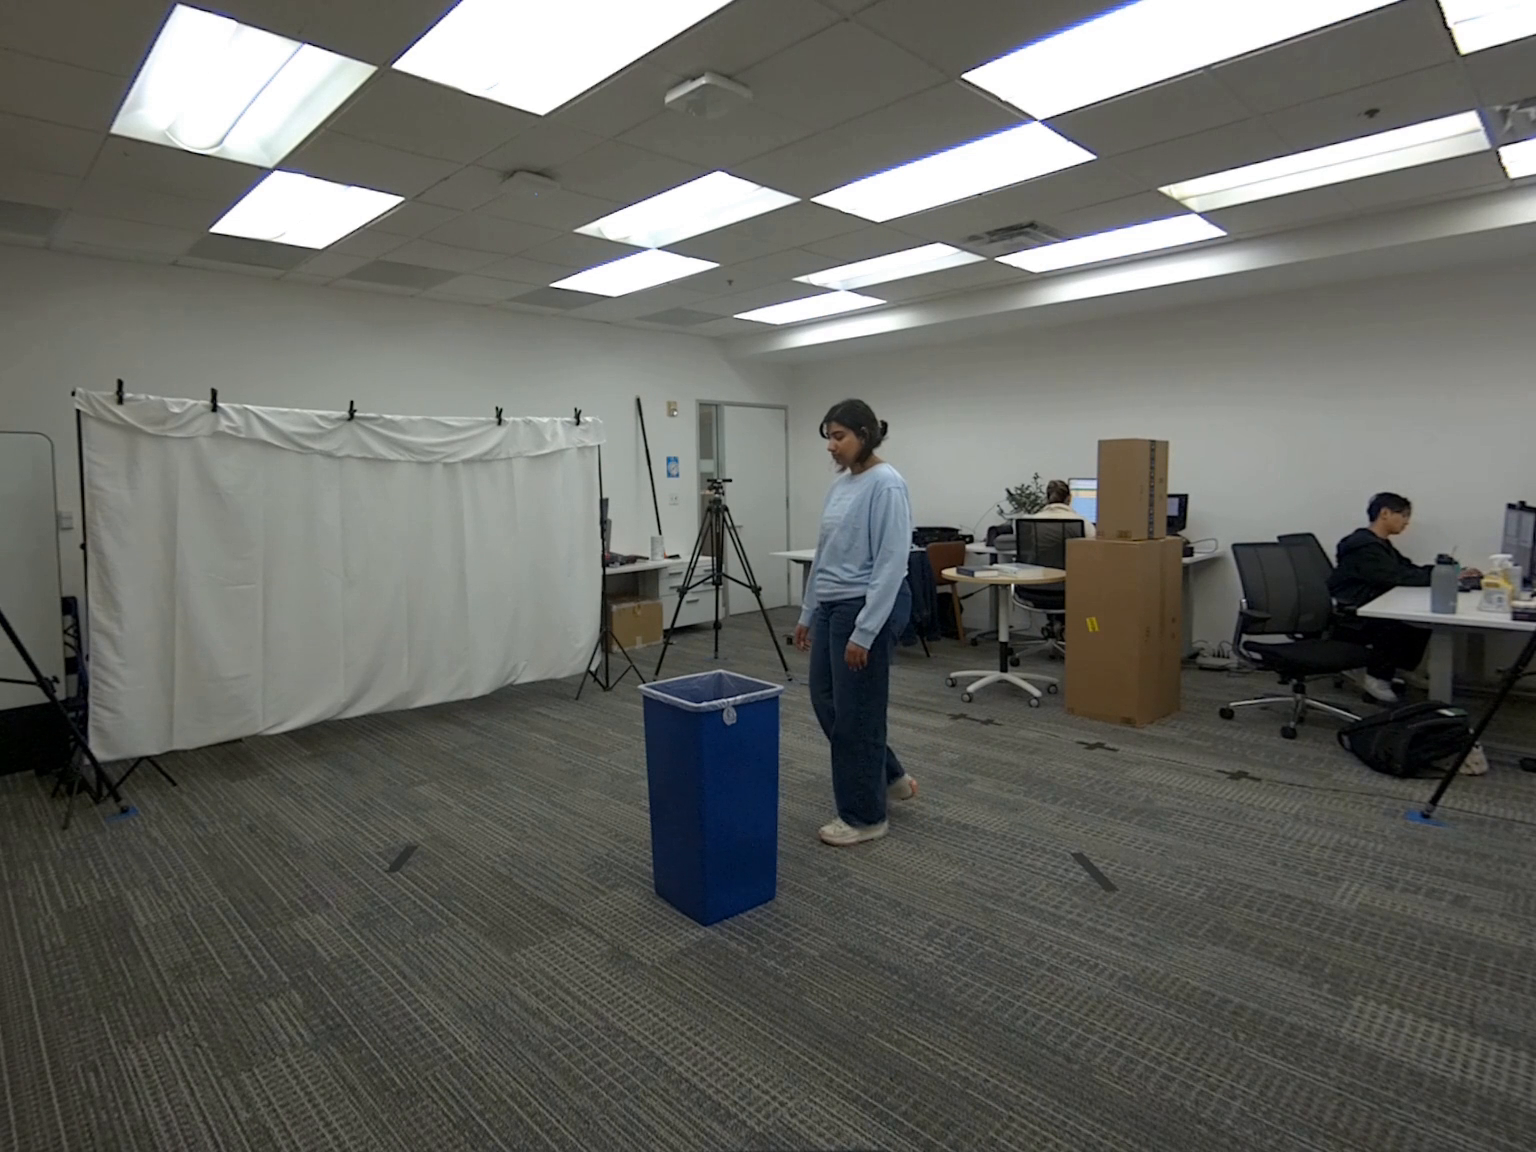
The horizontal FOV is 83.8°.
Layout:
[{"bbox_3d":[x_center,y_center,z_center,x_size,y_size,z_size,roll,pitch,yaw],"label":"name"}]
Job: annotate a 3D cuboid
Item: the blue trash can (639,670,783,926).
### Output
[{"bbox_3d":[-0.187,0.719,2.857,0.368,0.711,0.385,-4,5,-39],"label":"blue trash can"}]
